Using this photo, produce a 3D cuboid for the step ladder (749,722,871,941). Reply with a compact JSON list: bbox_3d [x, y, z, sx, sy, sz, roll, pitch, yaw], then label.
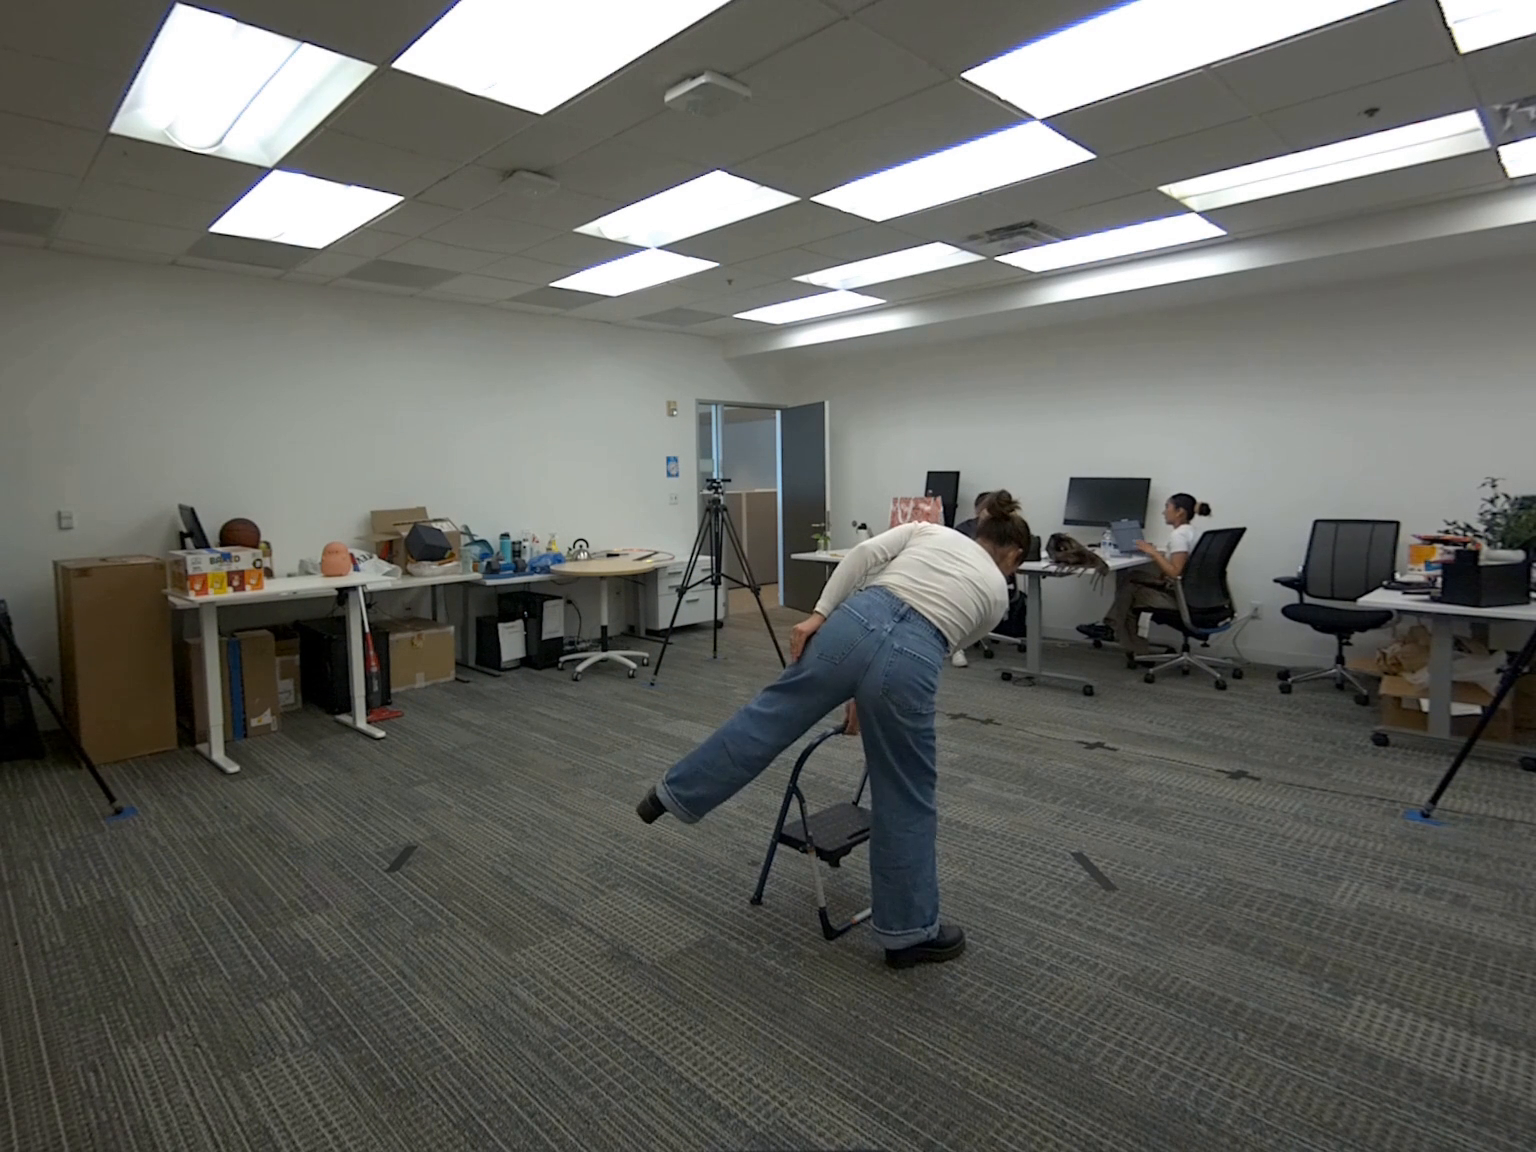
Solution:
[{"bbox_3d":[0.207,0.772,2.814,0.419,0.604,0.360,-5,6,-44],"label":"step ladder"}]
